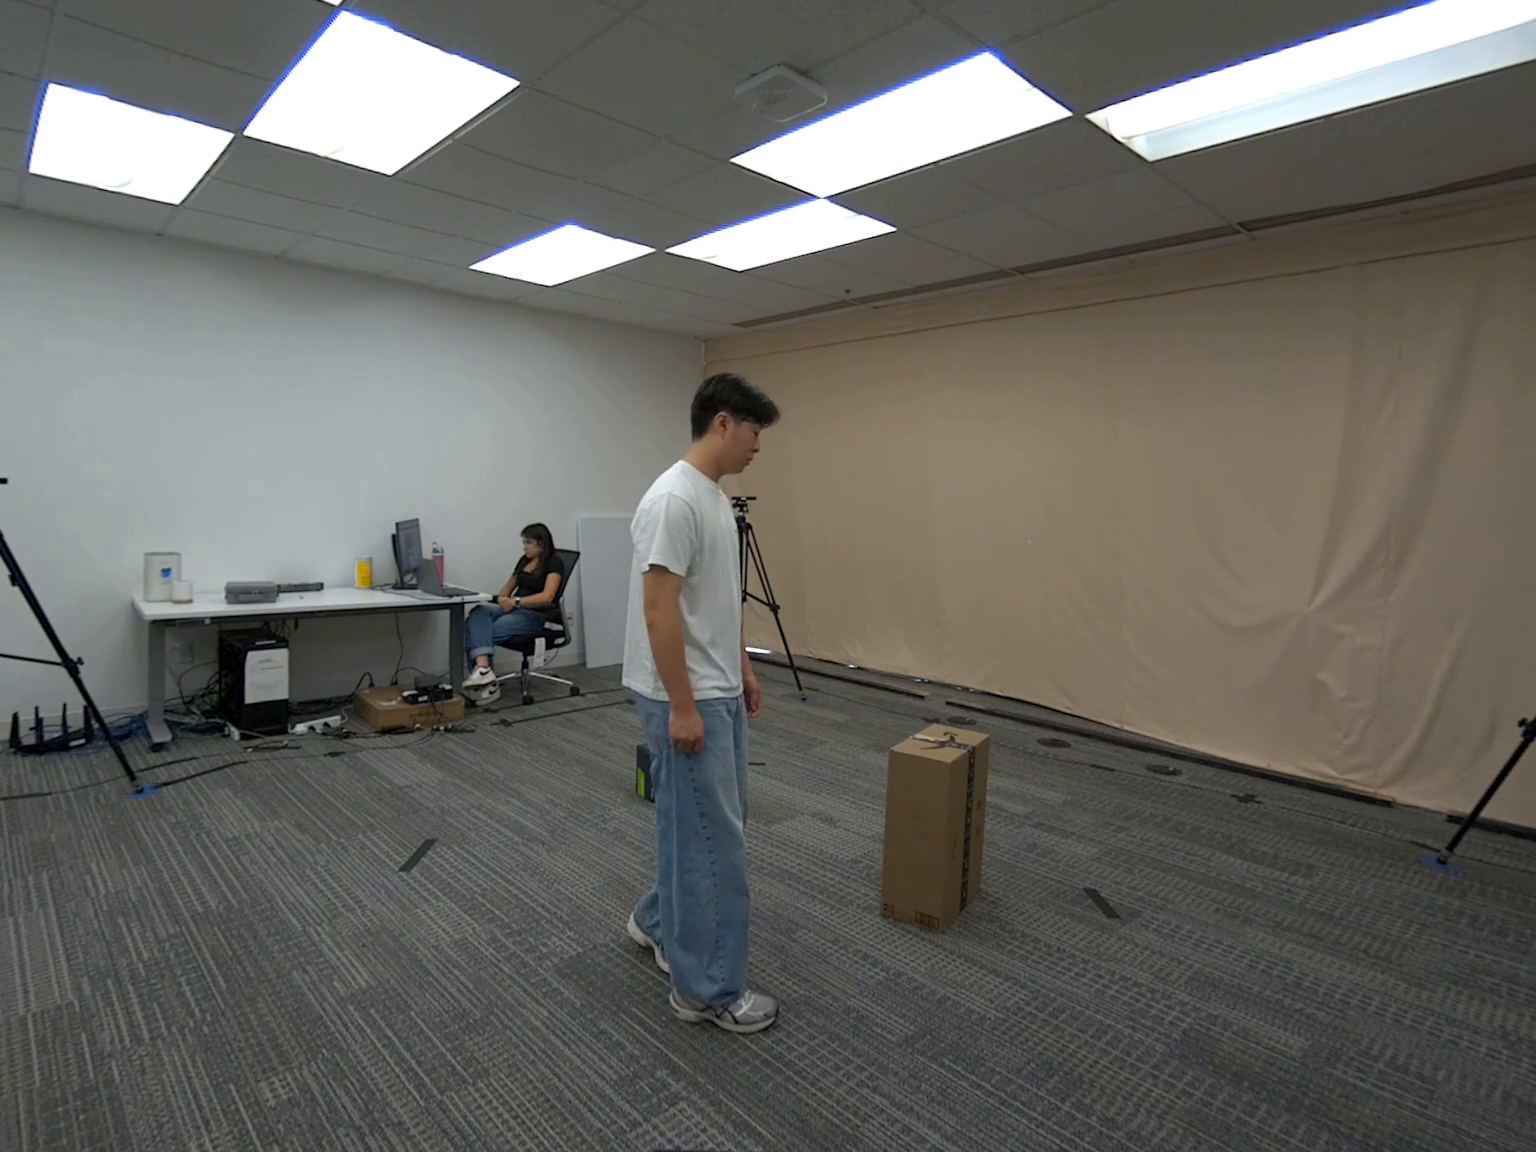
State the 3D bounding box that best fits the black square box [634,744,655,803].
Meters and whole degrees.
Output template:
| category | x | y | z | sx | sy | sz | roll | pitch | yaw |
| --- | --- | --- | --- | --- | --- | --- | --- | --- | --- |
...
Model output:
| category | x | y | z | sx | sy | sz | roll | pitch | yaw |
| --- | --- | --- | --- | --- | --- | --- | --- | --- | --- |
| black square box | -0.494 | 0.908 | 3.937 | 0.212 | 0.227 | 0.160 | -2 | 5 | -37 |
